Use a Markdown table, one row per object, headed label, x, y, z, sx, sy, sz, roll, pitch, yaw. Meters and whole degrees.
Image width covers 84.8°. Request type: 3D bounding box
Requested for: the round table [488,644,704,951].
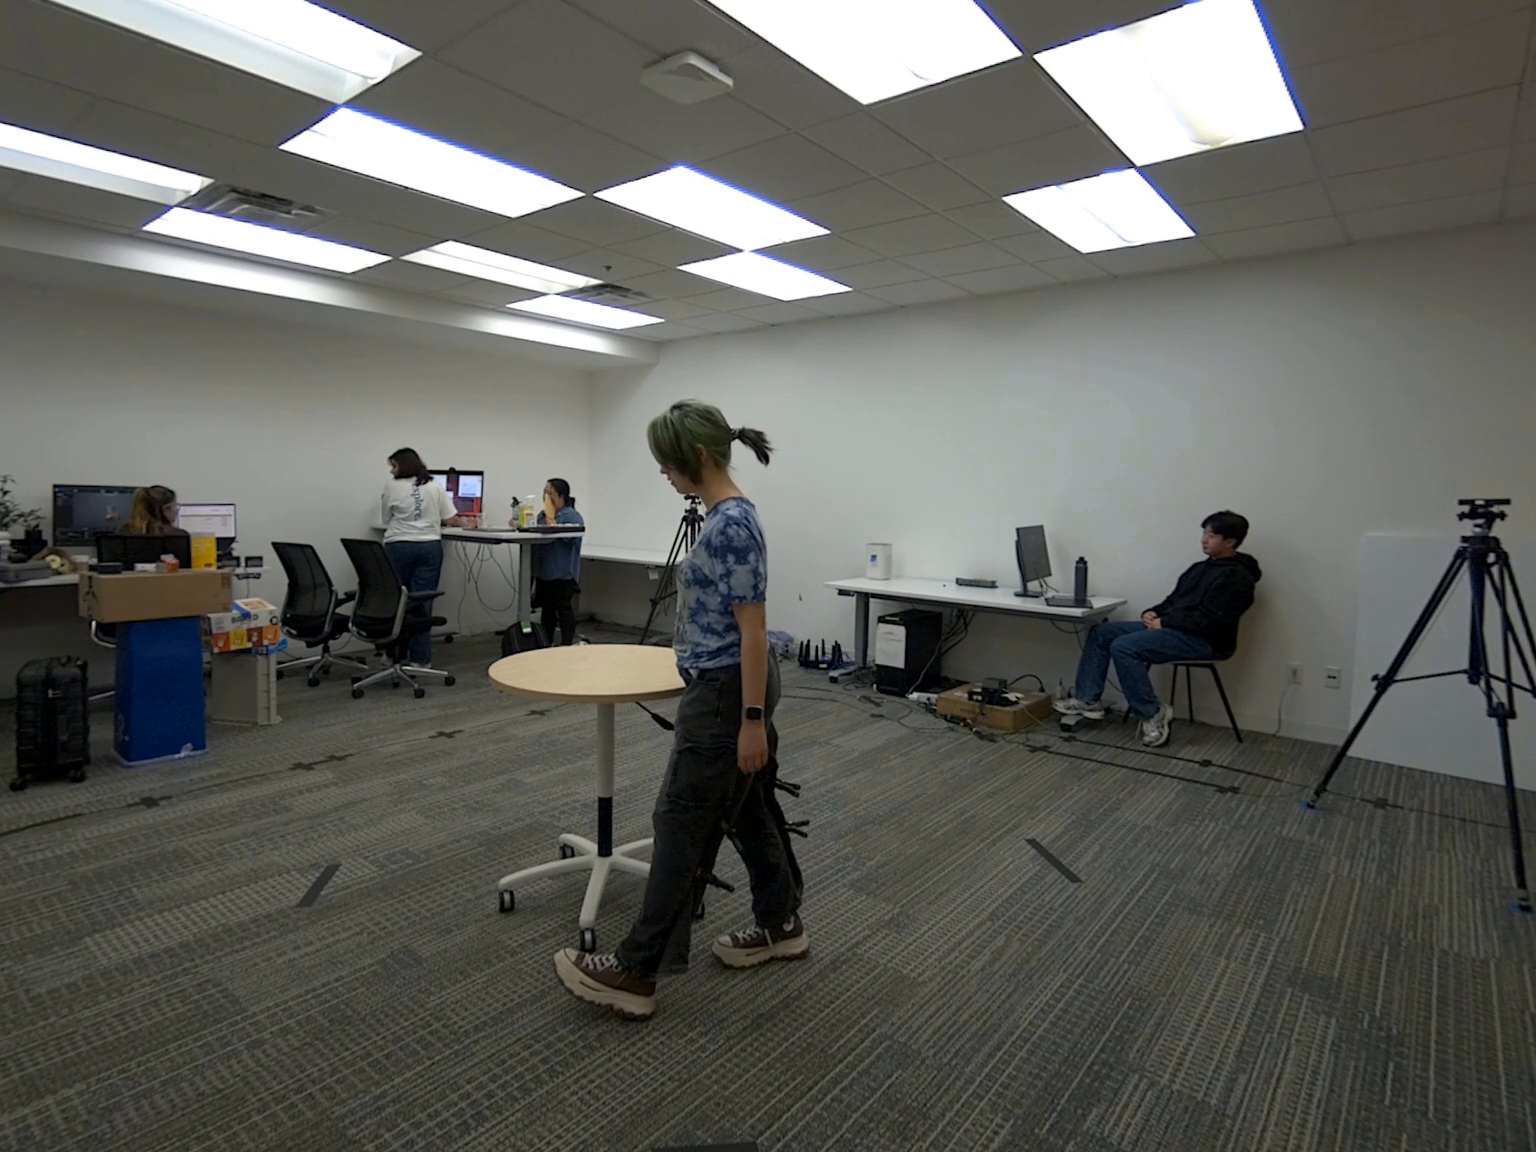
| label | x | y | z | sx | sy | sz | roll | pitch | yaw |
| --- | --- | --- | --- | --- | --- | --- | --- | --- | --- |
| round table | -0.563 | 0.696 | 2.881 | 0.763 | 0.791 | 0.768 | 1 | 4 | -2 |
